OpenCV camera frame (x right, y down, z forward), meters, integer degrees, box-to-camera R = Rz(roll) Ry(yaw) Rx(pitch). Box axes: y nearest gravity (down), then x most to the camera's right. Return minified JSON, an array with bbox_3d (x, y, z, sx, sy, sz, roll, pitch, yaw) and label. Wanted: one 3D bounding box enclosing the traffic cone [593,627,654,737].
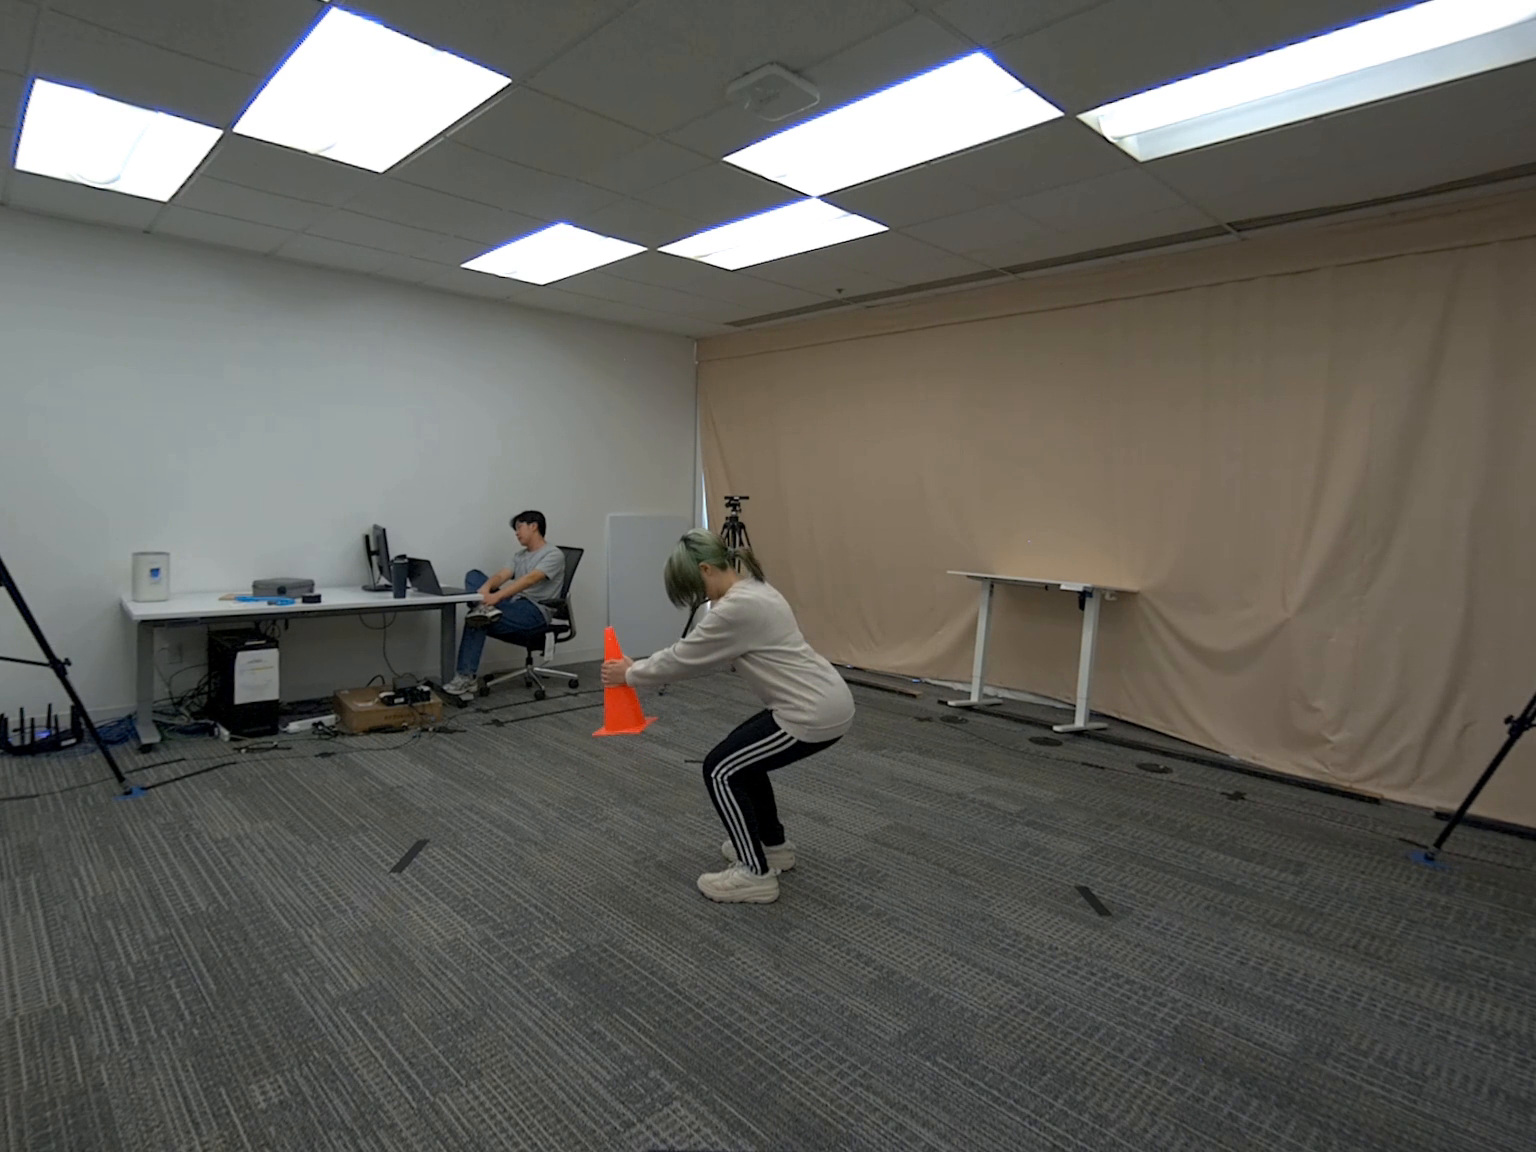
[{"bbox_3d":[-0.573,0.381,3.195,0.206,0.383,0.202,-7,1,18],"label":"traffic cone"}]
